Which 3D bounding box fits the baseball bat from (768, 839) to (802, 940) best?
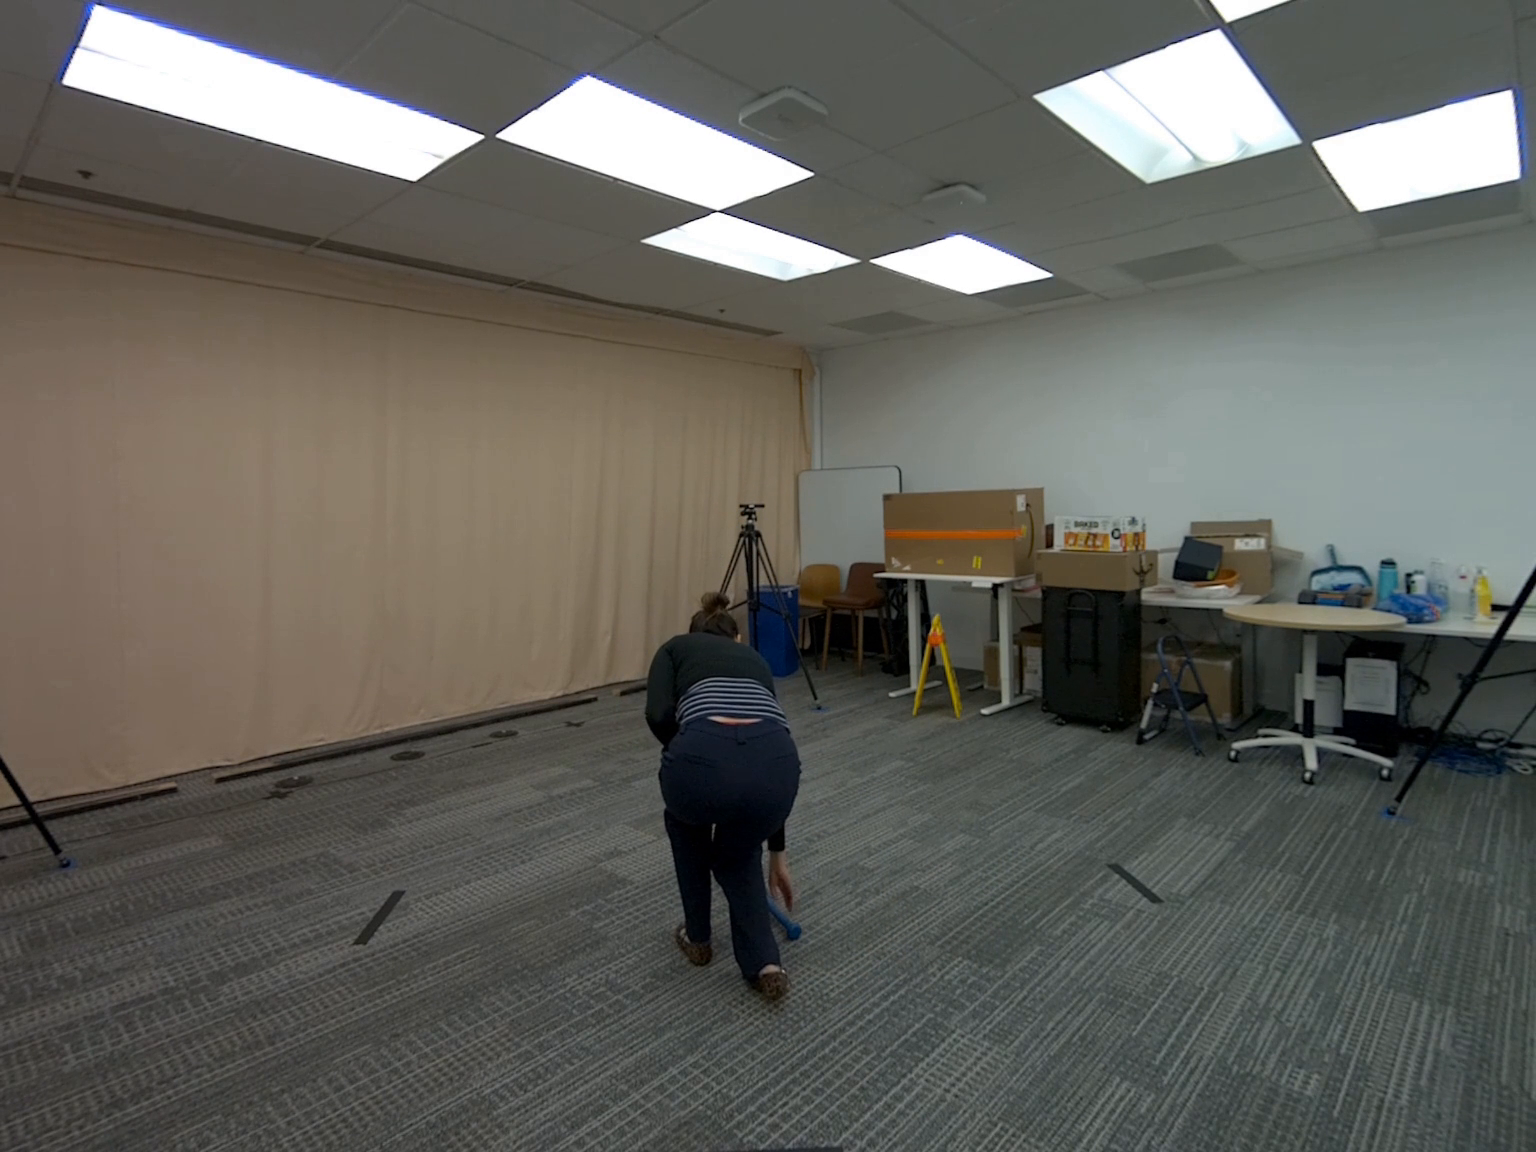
[{"bbox_3d":[-0.024,1.109,2.931,0.087,0.088,0.558,-3,9,-24],"label":"baseball bat"}]
